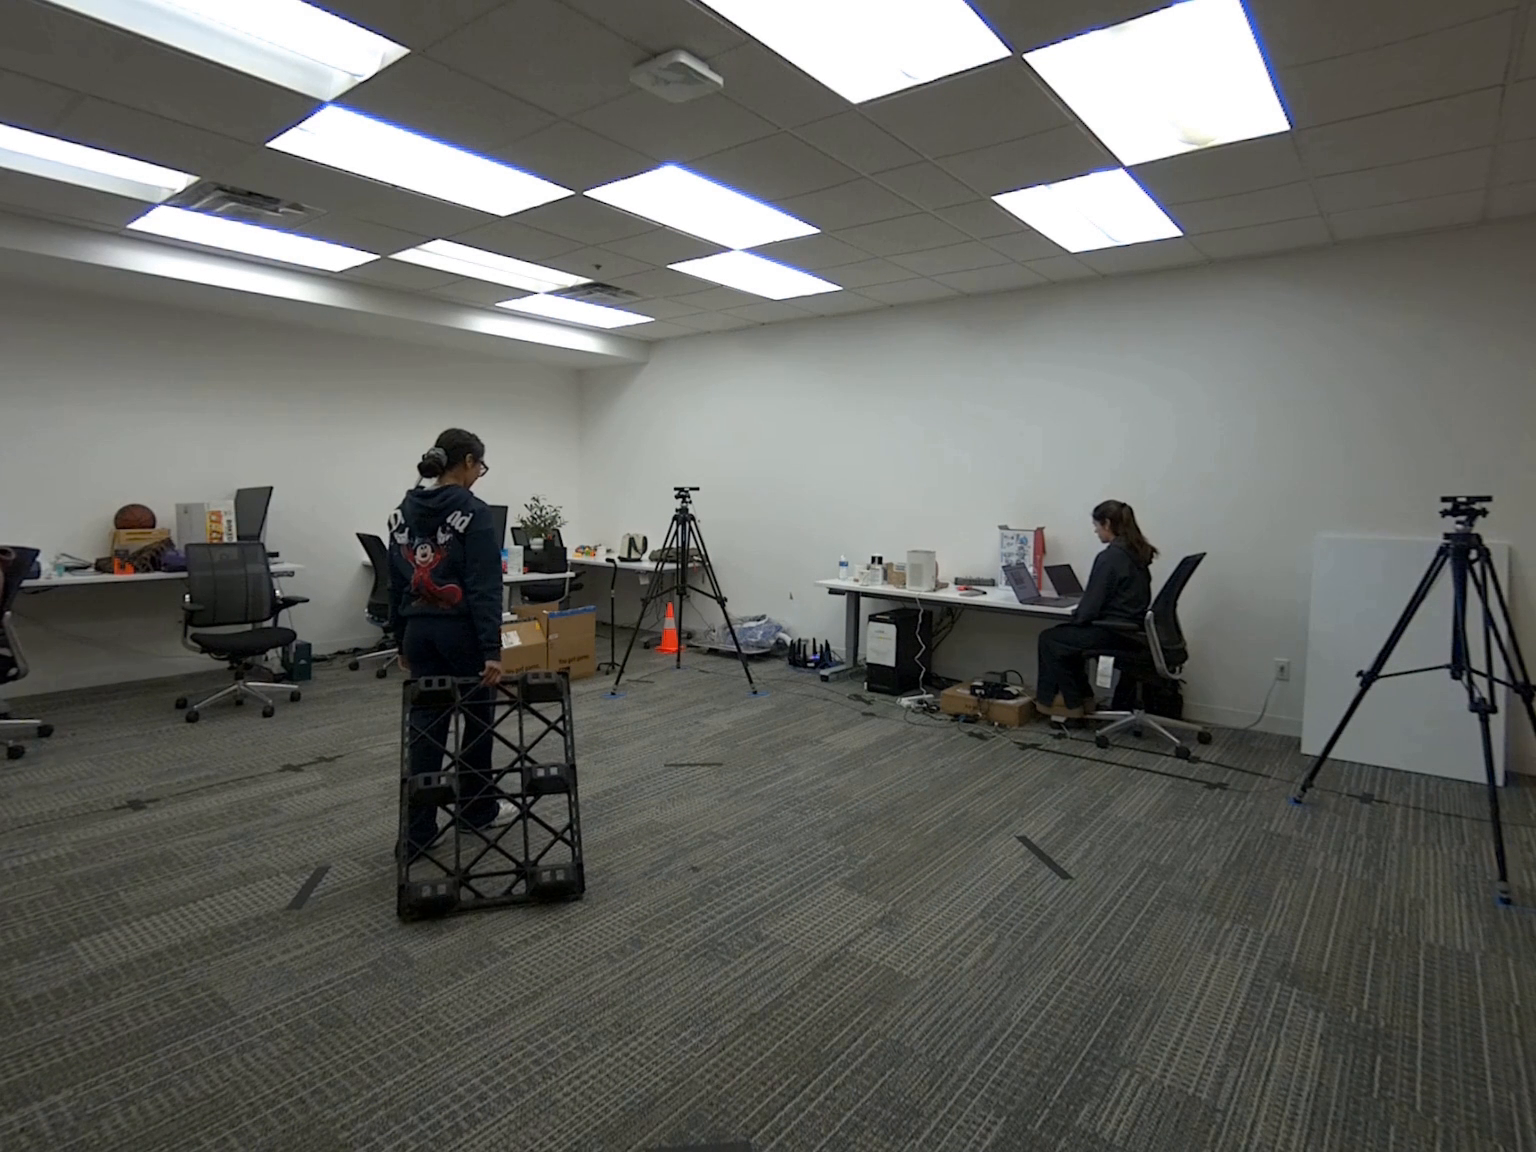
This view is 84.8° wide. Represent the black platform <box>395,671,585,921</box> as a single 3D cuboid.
[{"bbox_3d":[-0.958,0.707,2.932,0.595,0.829,0.141,-2,-30,-17],"label":"black platform"}]
